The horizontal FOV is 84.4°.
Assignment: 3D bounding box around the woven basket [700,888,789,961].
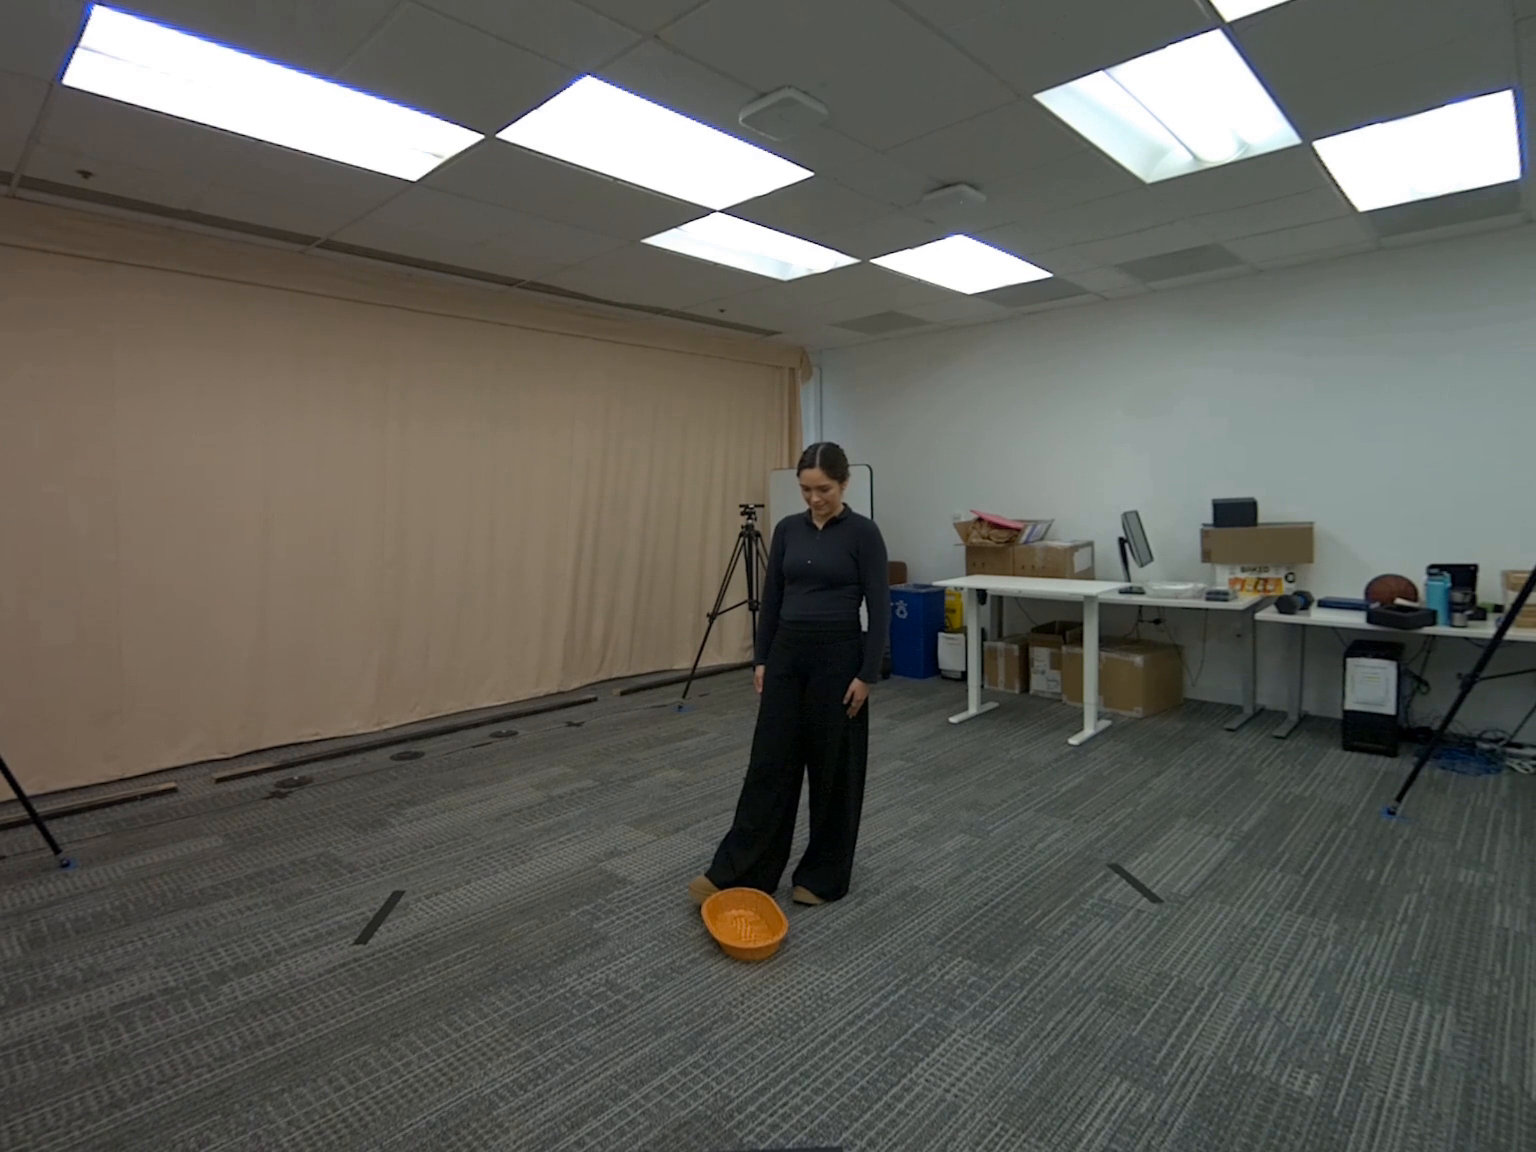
[{"bbox_3d":[-0.079,1.116,2.700,0.248,0.073,0.358,-5,9,-17],"label":"woven basket"}]
